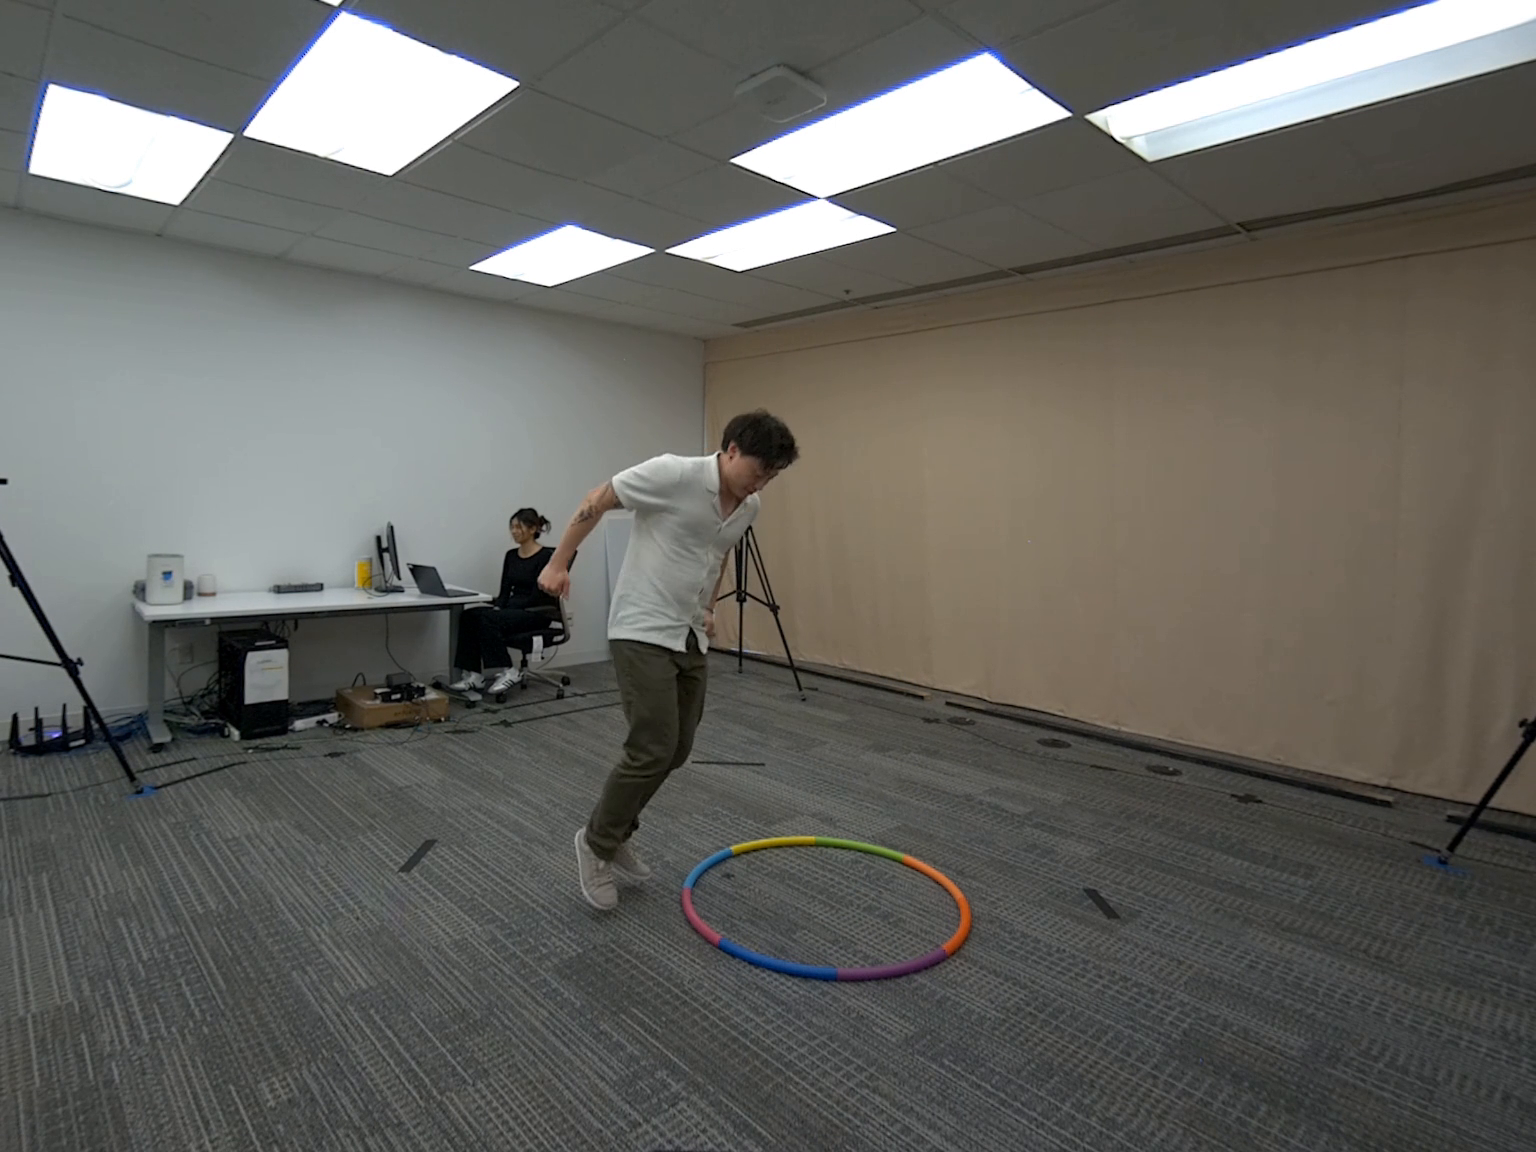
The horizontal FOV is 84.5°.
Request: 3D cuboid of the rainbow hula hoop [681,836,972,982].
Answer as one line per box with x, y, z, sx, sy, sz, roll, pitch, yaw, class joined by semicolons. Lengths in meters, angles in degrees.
0.186;1.102;2.926;0.978;0.035;0.982;1;5;-1;rainbow hula hoop
